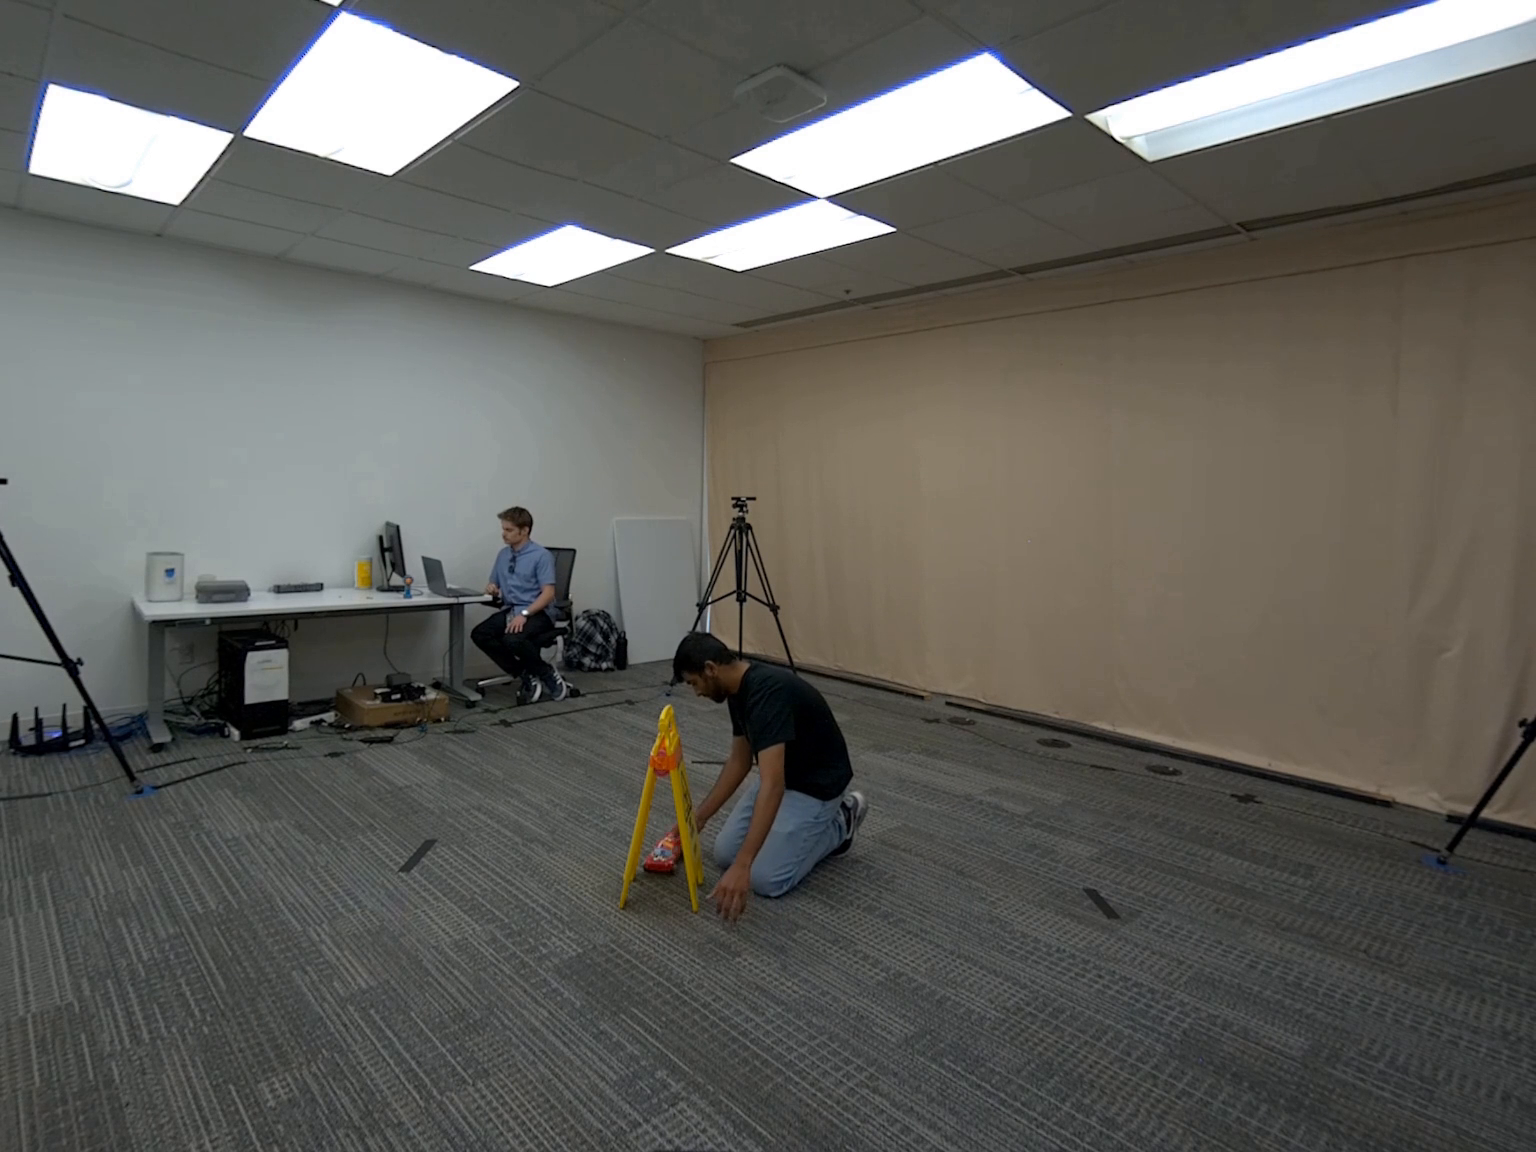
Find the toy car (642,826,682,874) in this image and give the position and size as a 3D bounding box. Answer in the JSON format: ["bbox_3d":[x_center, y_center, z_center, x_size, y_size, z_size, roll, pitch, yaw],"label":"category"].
[{"bbox_3d":[-0.386,1.052,3.198,0.131,0.082,0.255,-1,15,11],"label":"toy car"}]
